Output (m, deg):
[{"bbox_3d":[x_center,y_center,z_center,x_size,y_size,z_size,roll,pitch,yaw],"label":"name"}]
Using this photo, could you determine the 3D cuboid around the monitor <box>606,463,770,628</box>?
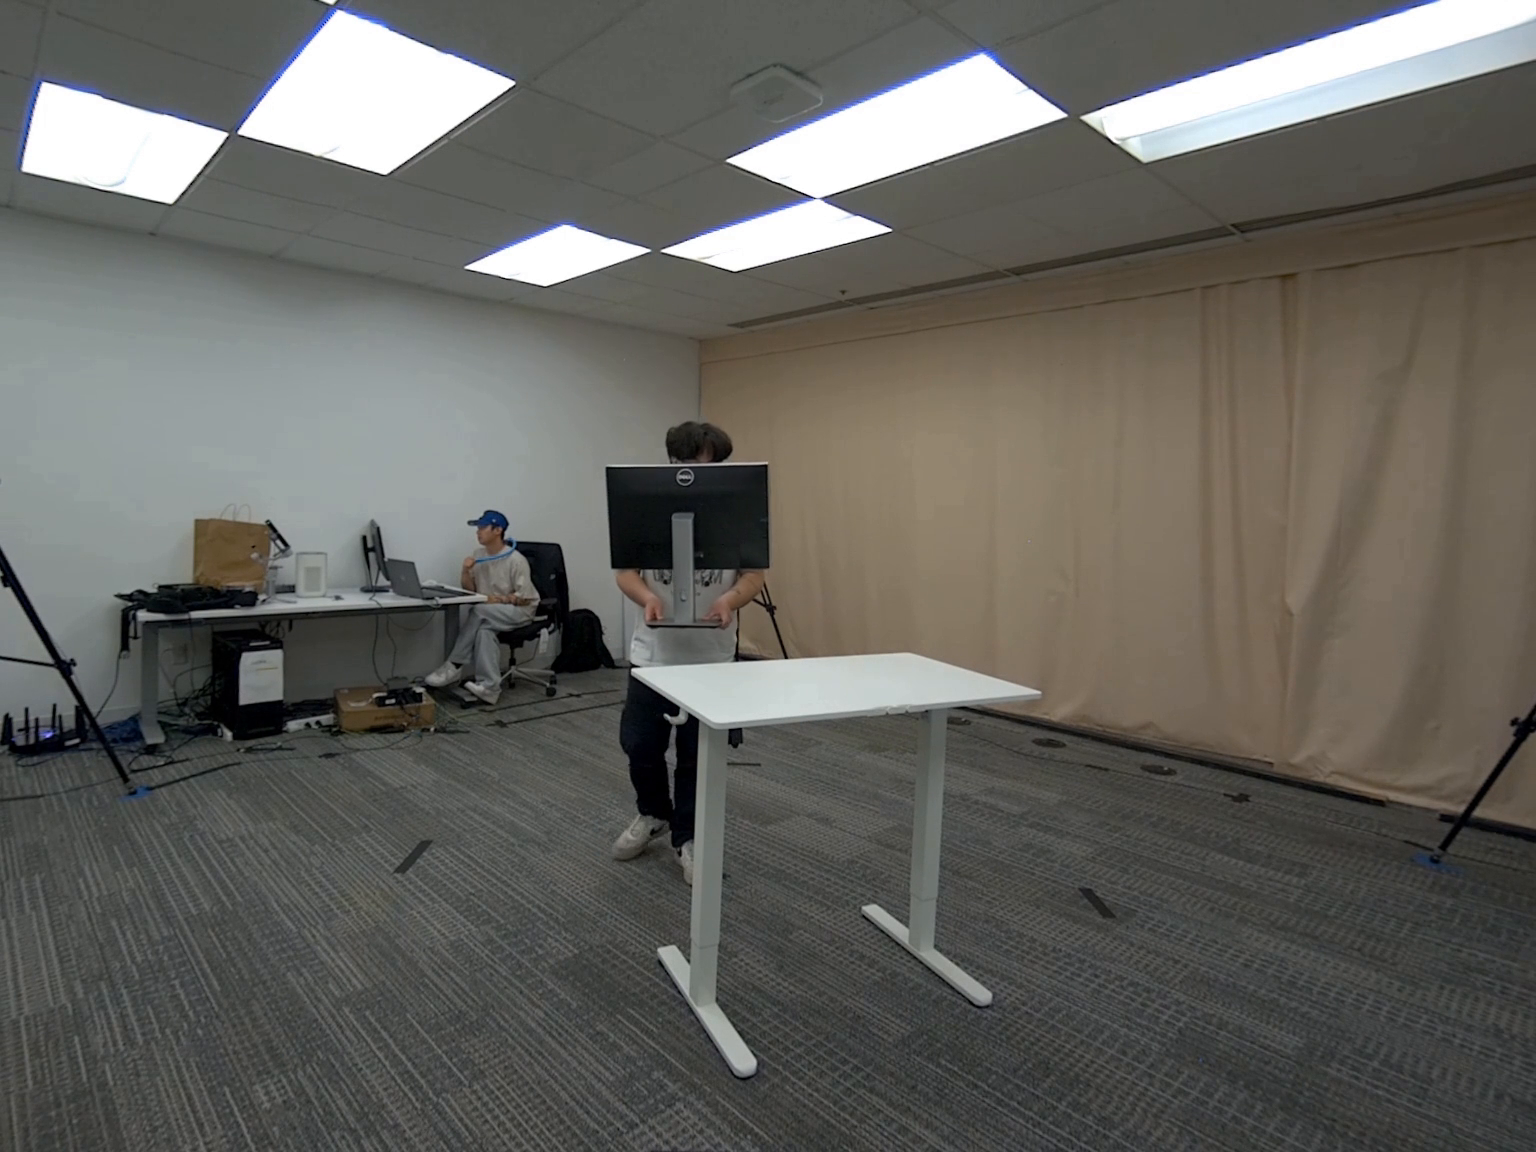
[{"bbox_3d":[-0.281,-0.101,2.793,0.568,0.551,0.210,0,8,5],"label":"monitor"}]
